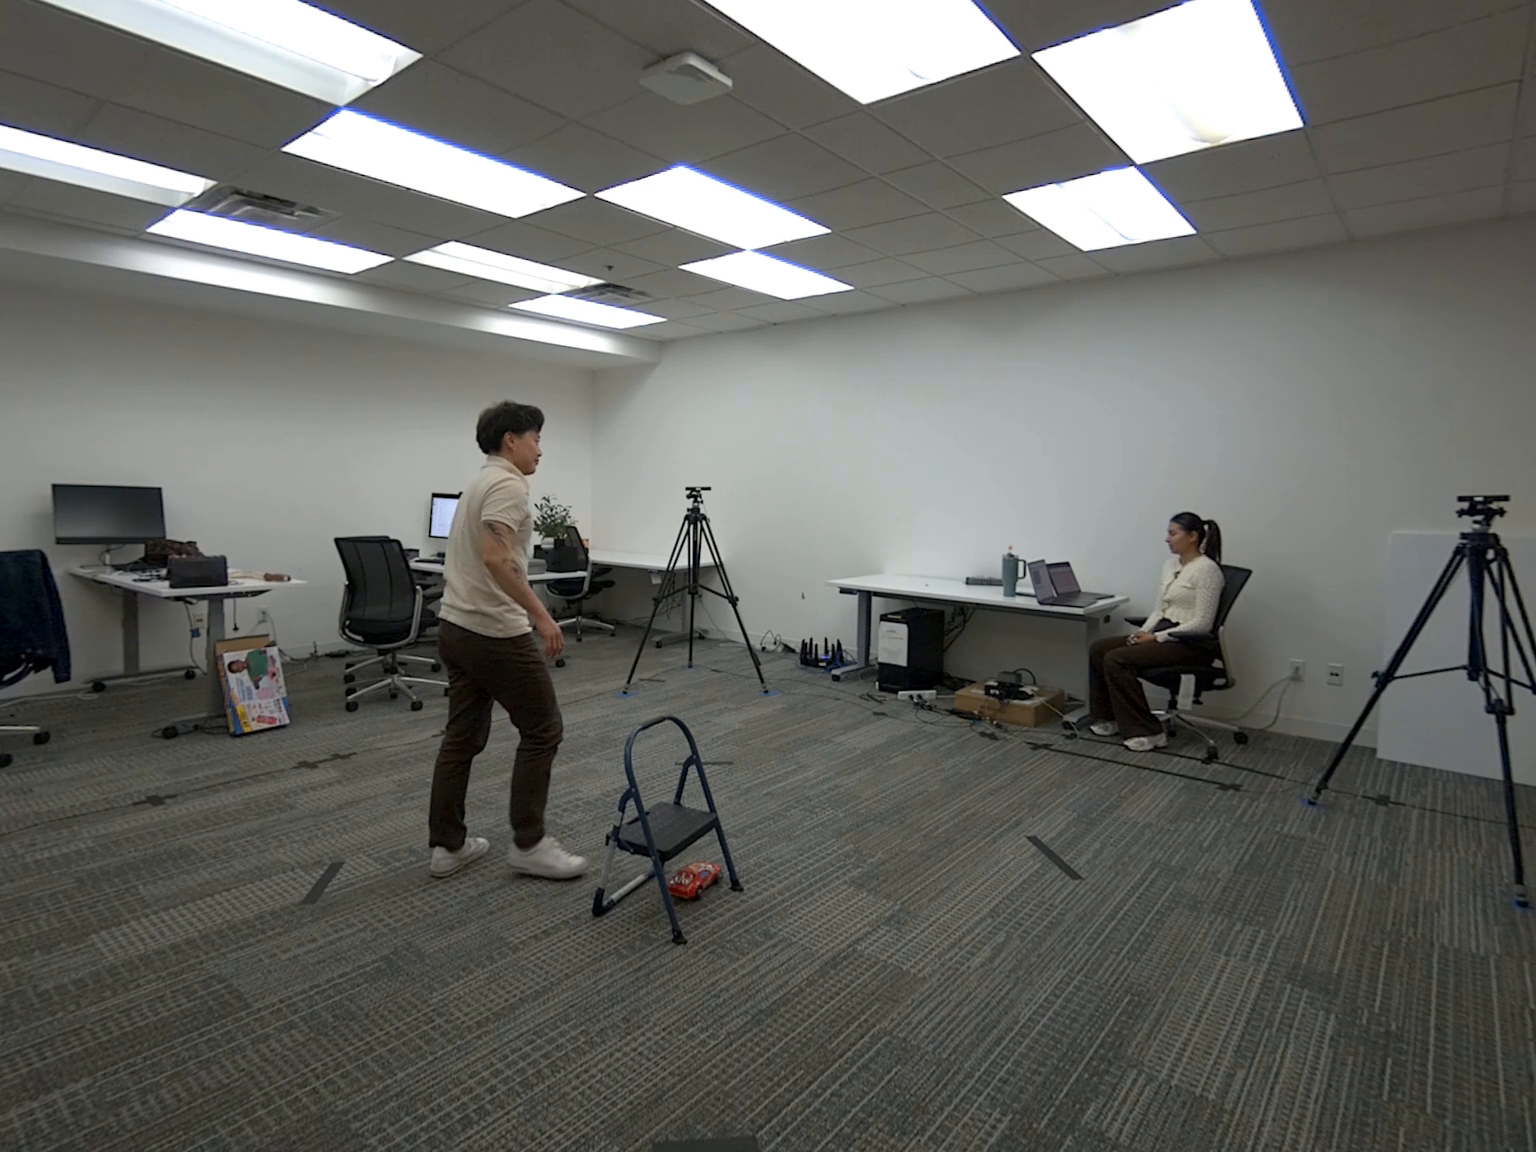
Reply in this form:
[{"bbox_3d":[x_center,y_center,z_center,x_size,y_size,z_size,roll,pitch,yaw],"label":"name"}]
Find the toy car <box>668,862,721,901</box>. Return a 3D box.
[{"bbox_3d":[-0.268,1.052,2.934,0.134,0.083,0.246,4,-5,26],"label":"toy car"}]
